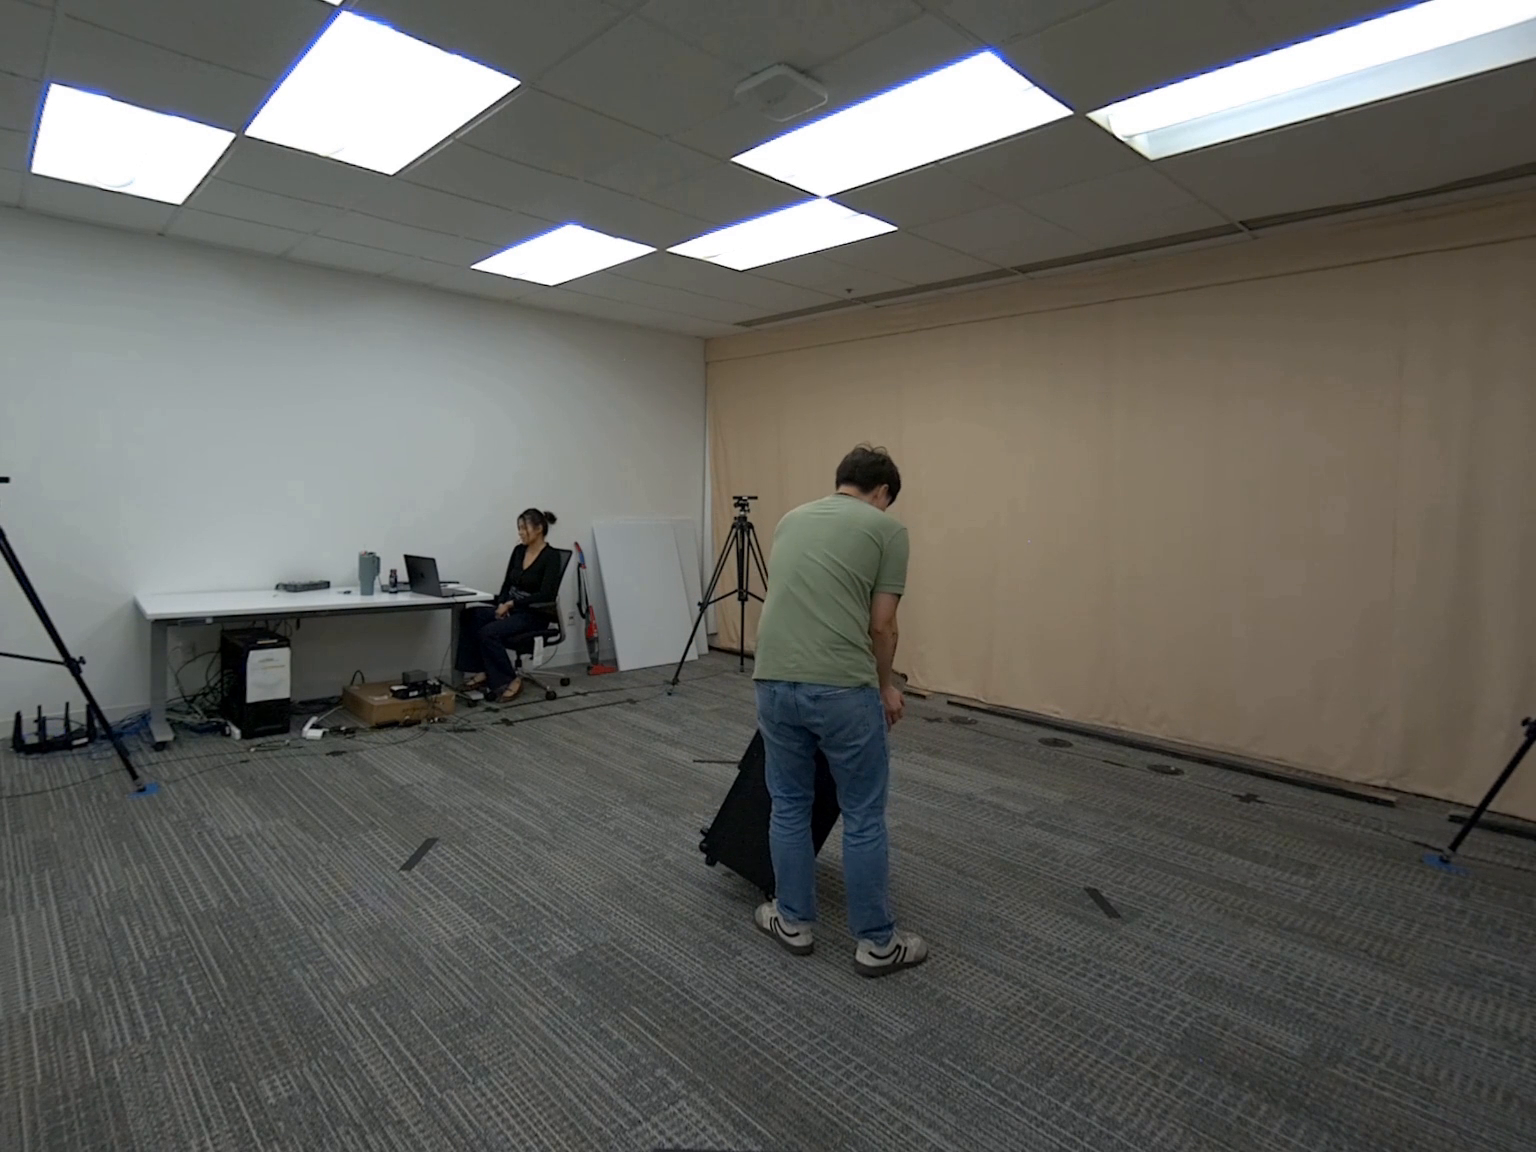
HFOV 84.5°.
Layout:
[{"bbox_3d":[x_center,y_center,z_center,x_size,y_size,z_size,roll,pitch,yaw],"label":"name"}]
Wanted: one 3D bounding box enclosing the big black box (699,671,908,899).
[{"bbox_3d":[0.113,0.684,2.995,0.401,0.859,0.516,28,8,10],"label":"big black box"}]
